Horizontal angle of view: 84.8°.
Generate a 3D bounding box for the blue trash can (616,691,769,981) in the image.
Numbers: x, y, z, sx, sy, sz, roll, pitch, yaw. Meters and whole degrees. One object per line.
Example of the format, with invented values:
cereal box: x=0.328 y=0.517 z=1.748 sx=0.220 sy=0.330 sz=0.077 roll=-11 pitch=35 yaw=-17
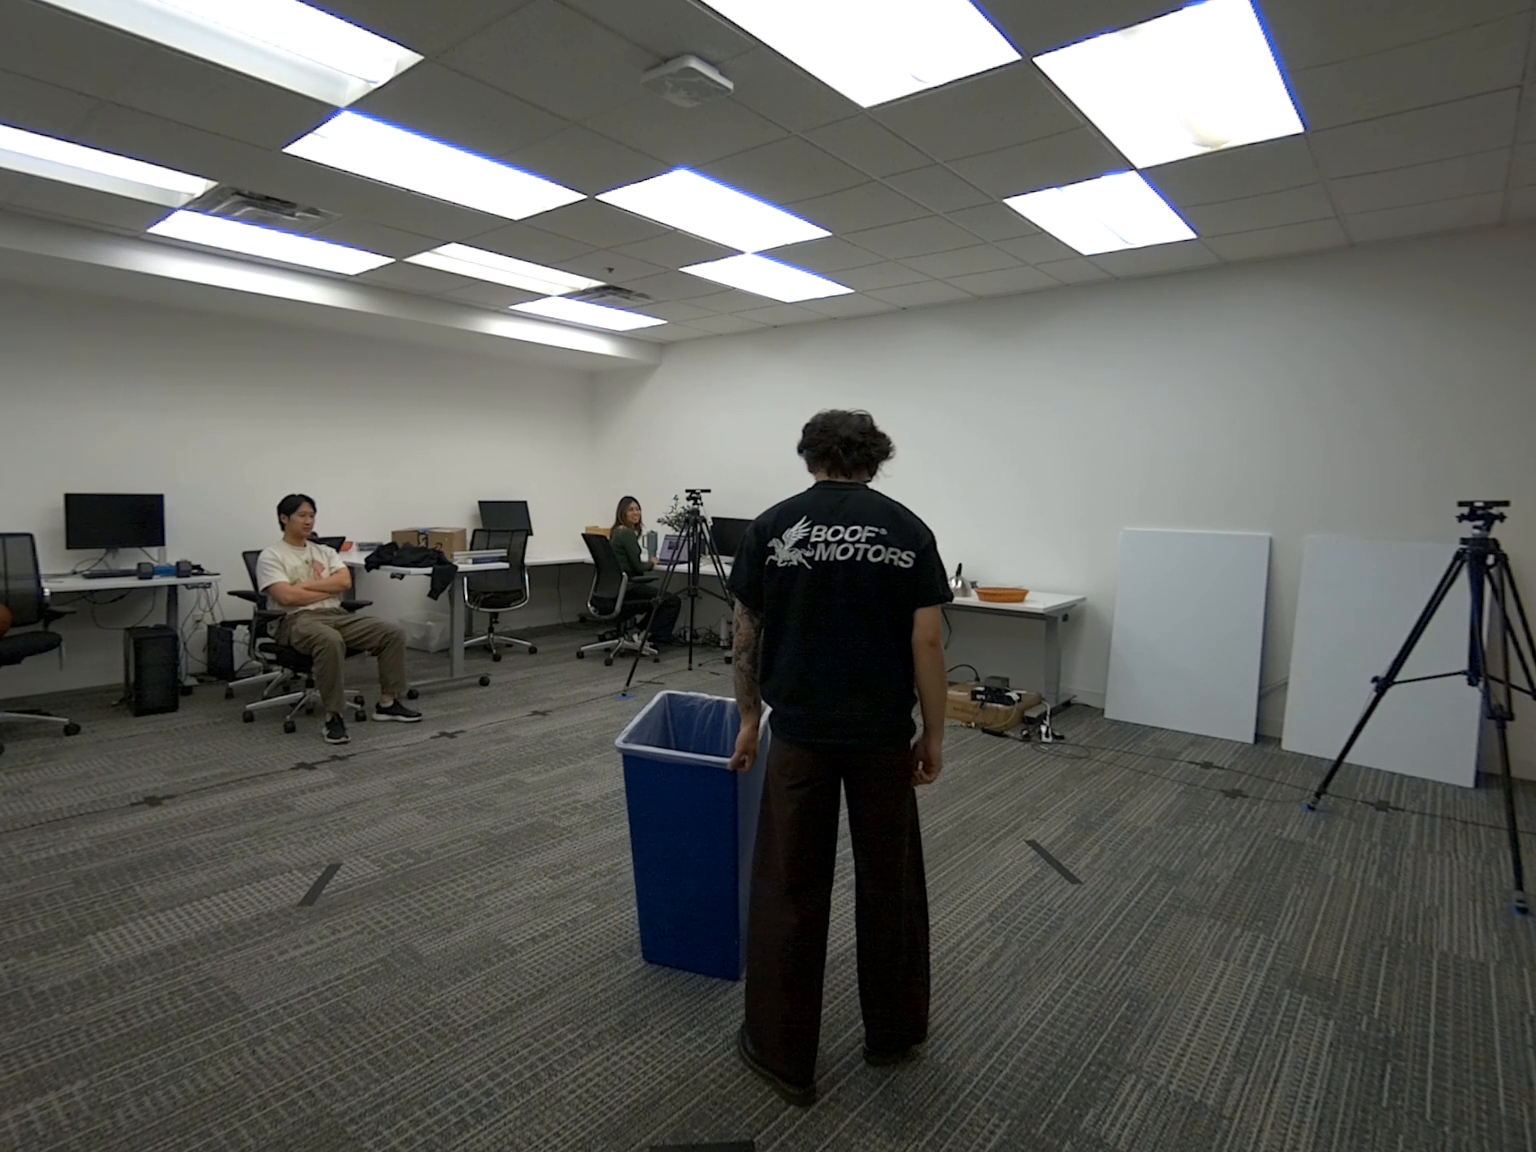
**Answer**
blue trash can: x=-0.206 y=0.757 z=2.496 sx=0.385 sy=0.705 sz=0.372 roll=3 pitch=13 yaw=16
